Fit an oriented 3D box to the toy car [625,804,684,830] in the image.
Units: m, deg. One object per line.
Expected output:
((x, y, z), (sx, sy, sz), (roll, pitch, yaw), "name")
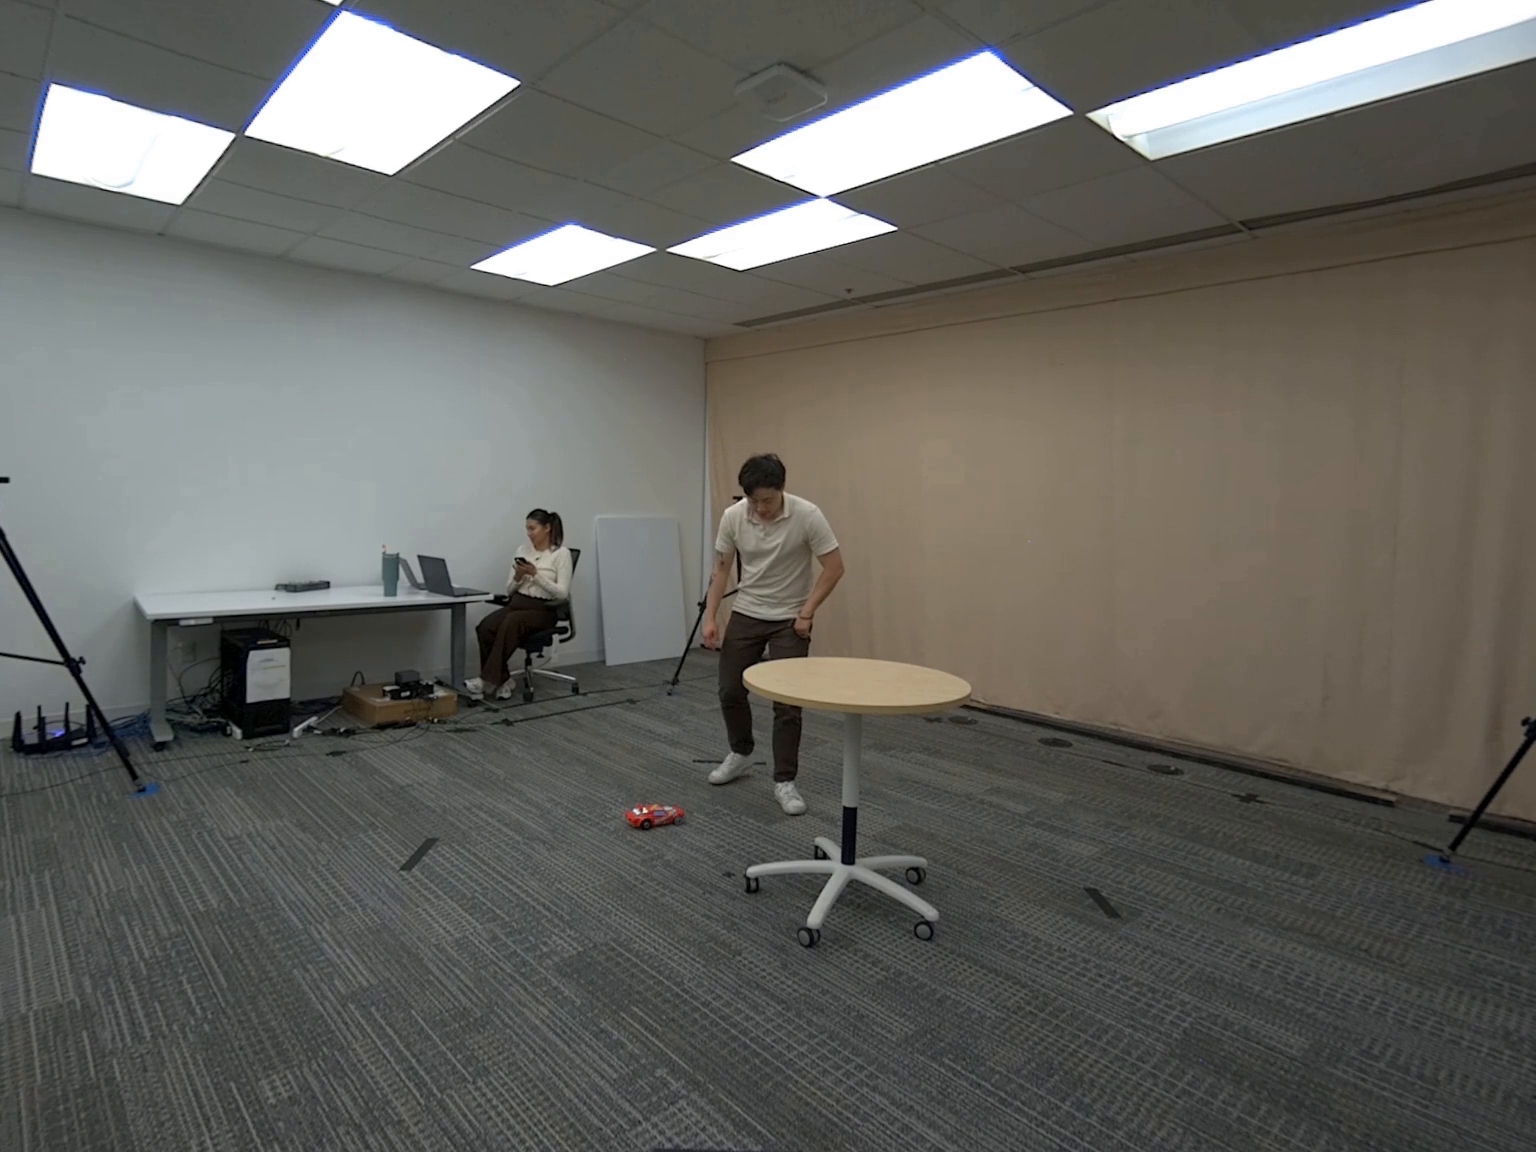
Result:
((-0.509, 1.023, 3.576), (0.249, 0.083, 0.133), (12, -2, -28), "toy car")
